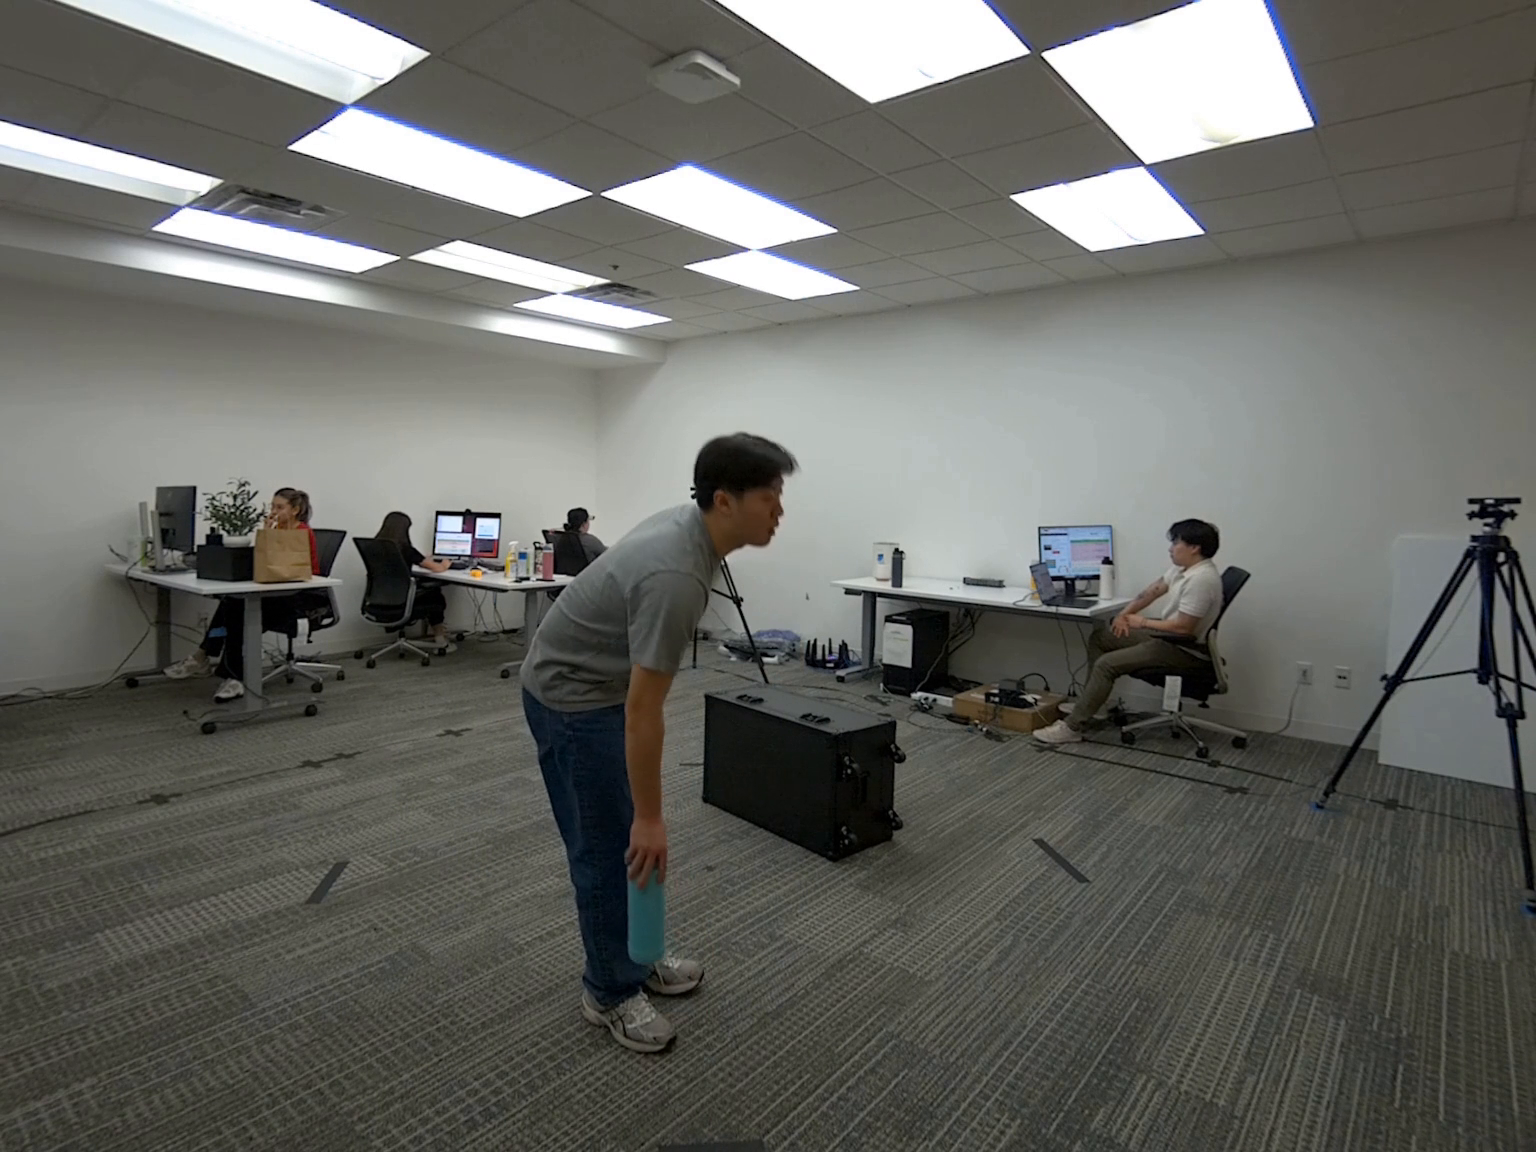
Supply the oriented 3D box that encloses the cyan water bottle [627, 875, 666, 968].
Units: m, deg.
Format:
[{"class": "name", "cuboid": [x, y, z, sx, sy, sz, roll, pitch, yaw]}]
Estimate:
[{"class": "cyan water bottle", "cuboid": [-0.289, 0.762, 2.014, 0.092, 0.282, 0.093, -2, 5, -2]}]
